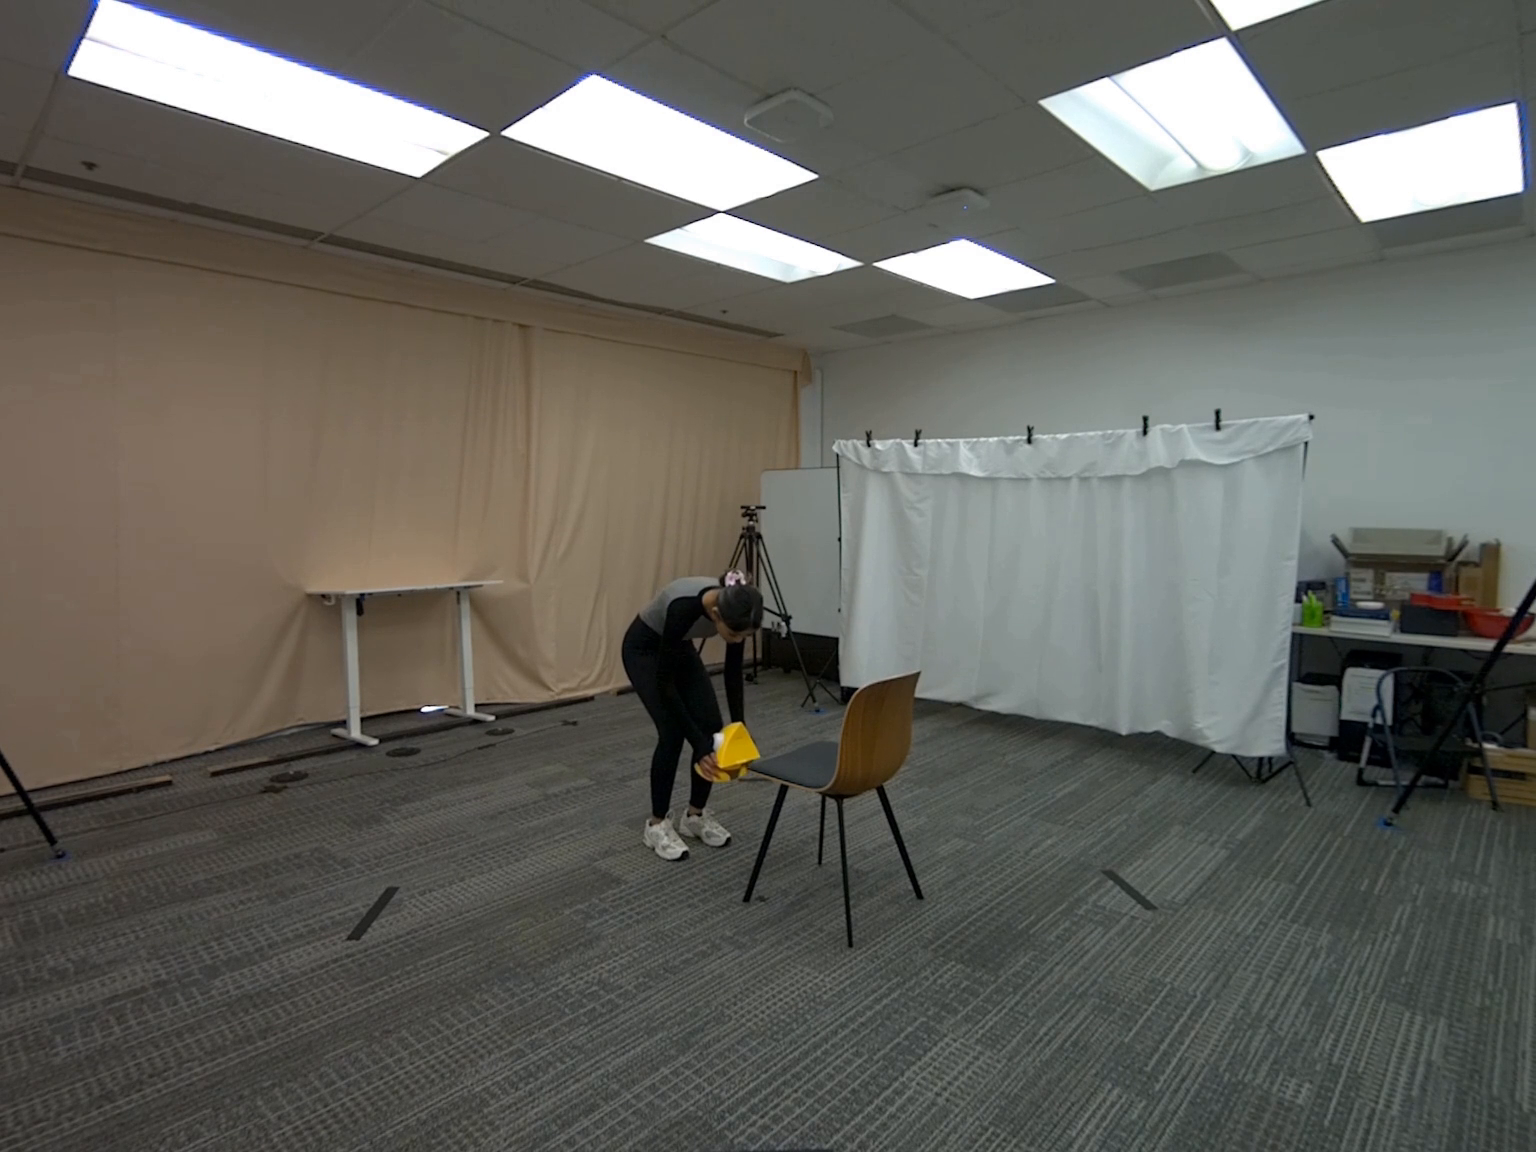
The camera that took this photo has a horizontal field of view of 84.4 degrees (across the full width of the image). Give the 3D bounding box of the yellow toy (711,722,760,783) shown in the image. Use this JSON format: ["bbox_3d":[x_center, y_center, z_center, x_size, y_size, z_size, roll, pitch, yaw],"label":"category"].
[{"bbox_3d":[-0.156,0.646,3.253,0.198,0.229,0.200,-2,13,-43],"label":"yellow toy"}]
